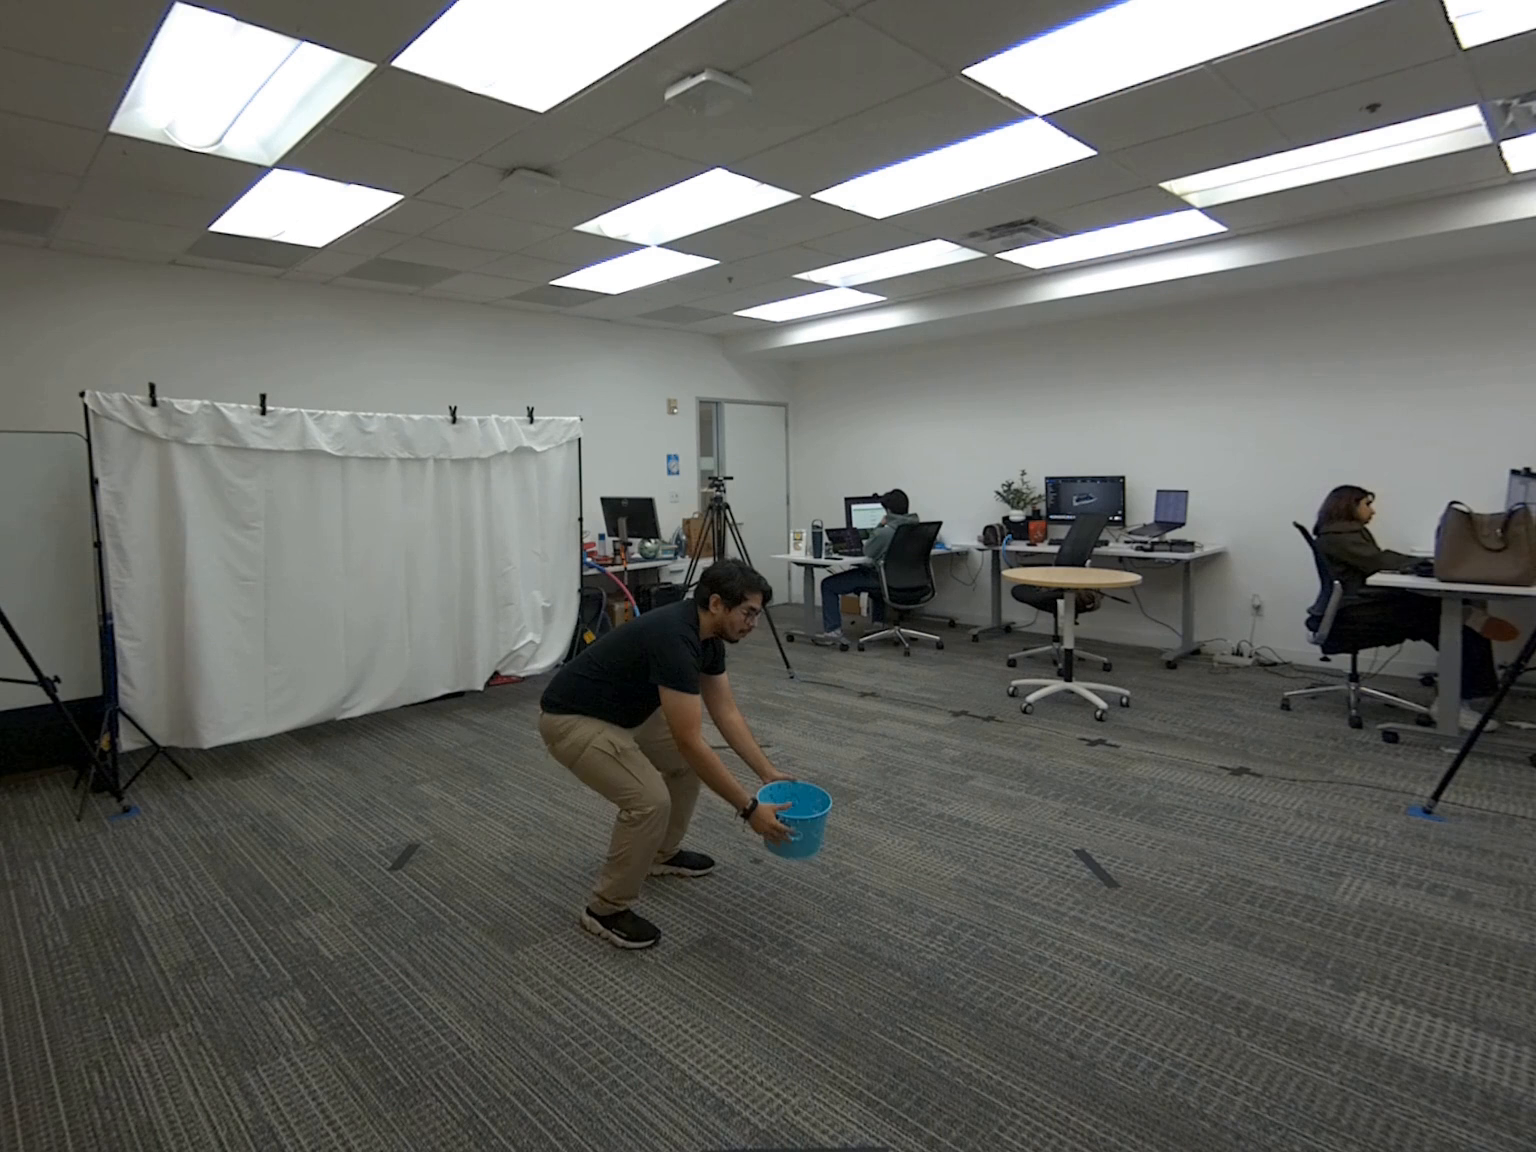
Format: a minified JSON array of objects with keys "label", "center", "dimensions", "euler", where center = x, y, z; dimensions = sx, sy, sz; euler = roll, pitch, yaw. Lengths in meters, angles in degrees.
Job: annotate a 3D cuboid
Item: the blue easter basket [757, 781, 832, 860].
[{"label":"blue easter basket","center":[0.080,0.752,2.655],"dimensions":[0.243,0.154,0.246],"euler":[3,13,-2]}]
